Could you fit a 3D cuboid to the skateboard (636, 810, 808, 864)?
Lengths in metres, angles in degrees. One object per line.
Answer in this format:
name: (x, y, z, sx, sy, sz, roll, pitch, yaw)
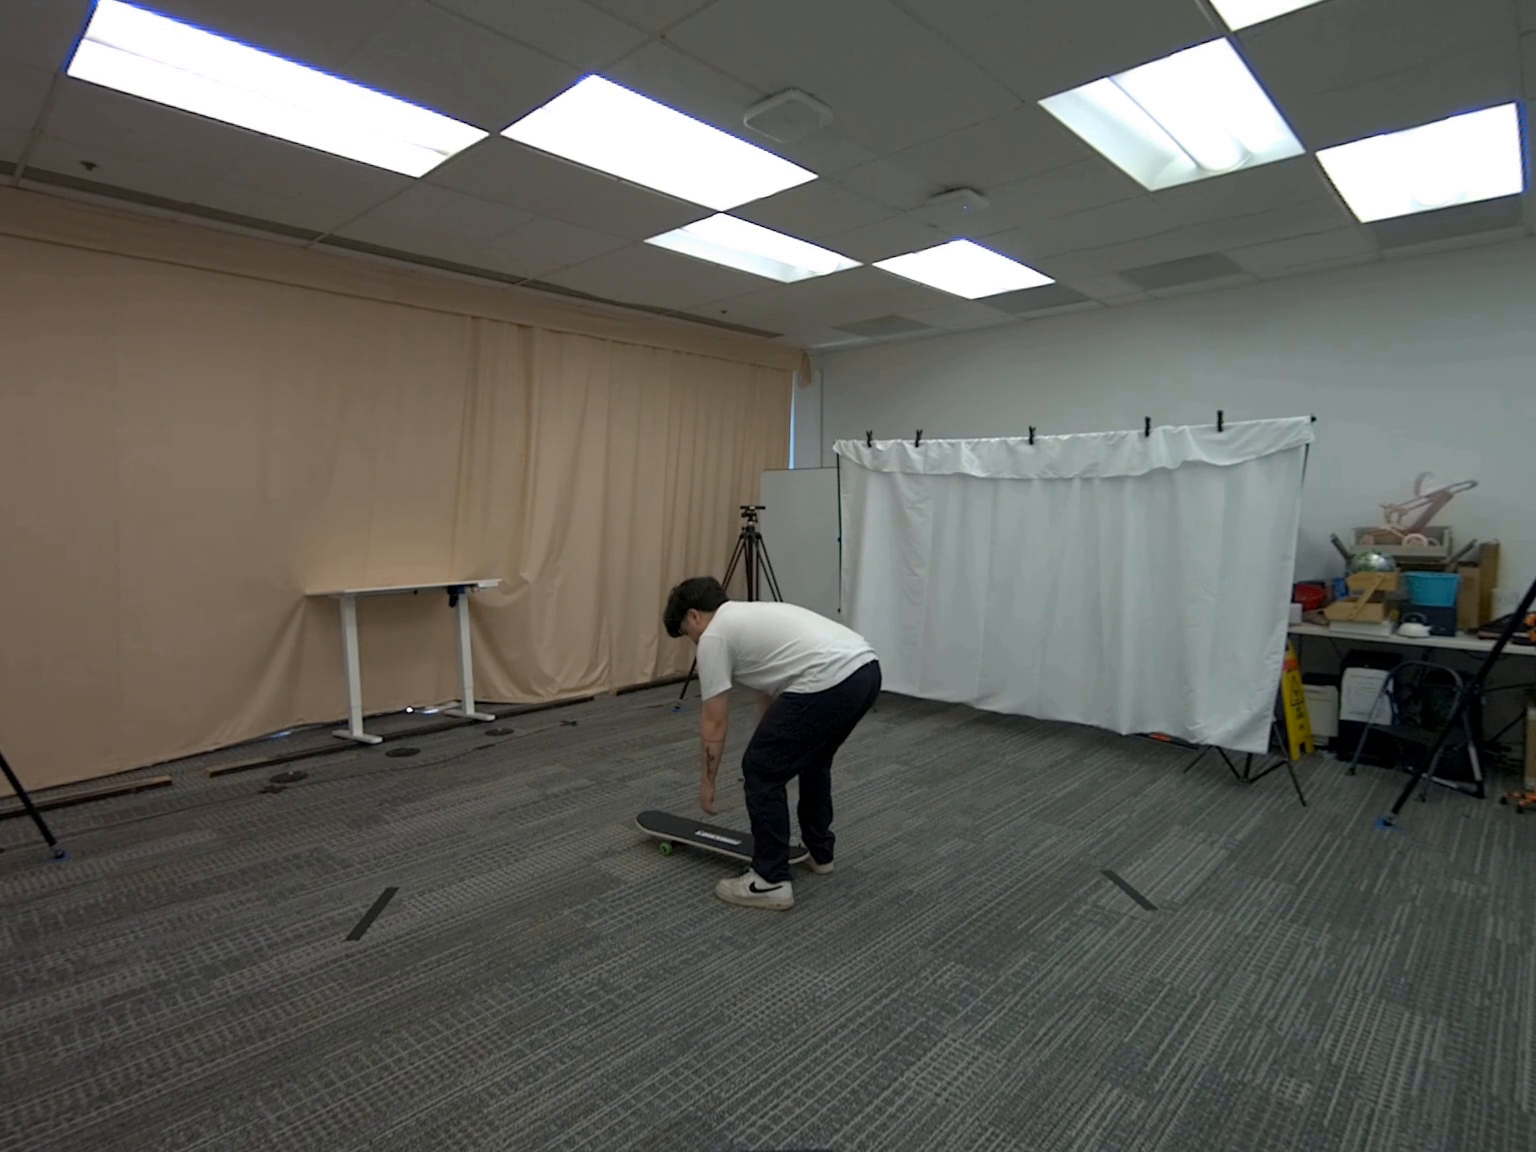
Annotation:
skateboard: (-0.200, 1.063, 3.319, 0.809, 0.110, 0.188, 3, 5, 33)
